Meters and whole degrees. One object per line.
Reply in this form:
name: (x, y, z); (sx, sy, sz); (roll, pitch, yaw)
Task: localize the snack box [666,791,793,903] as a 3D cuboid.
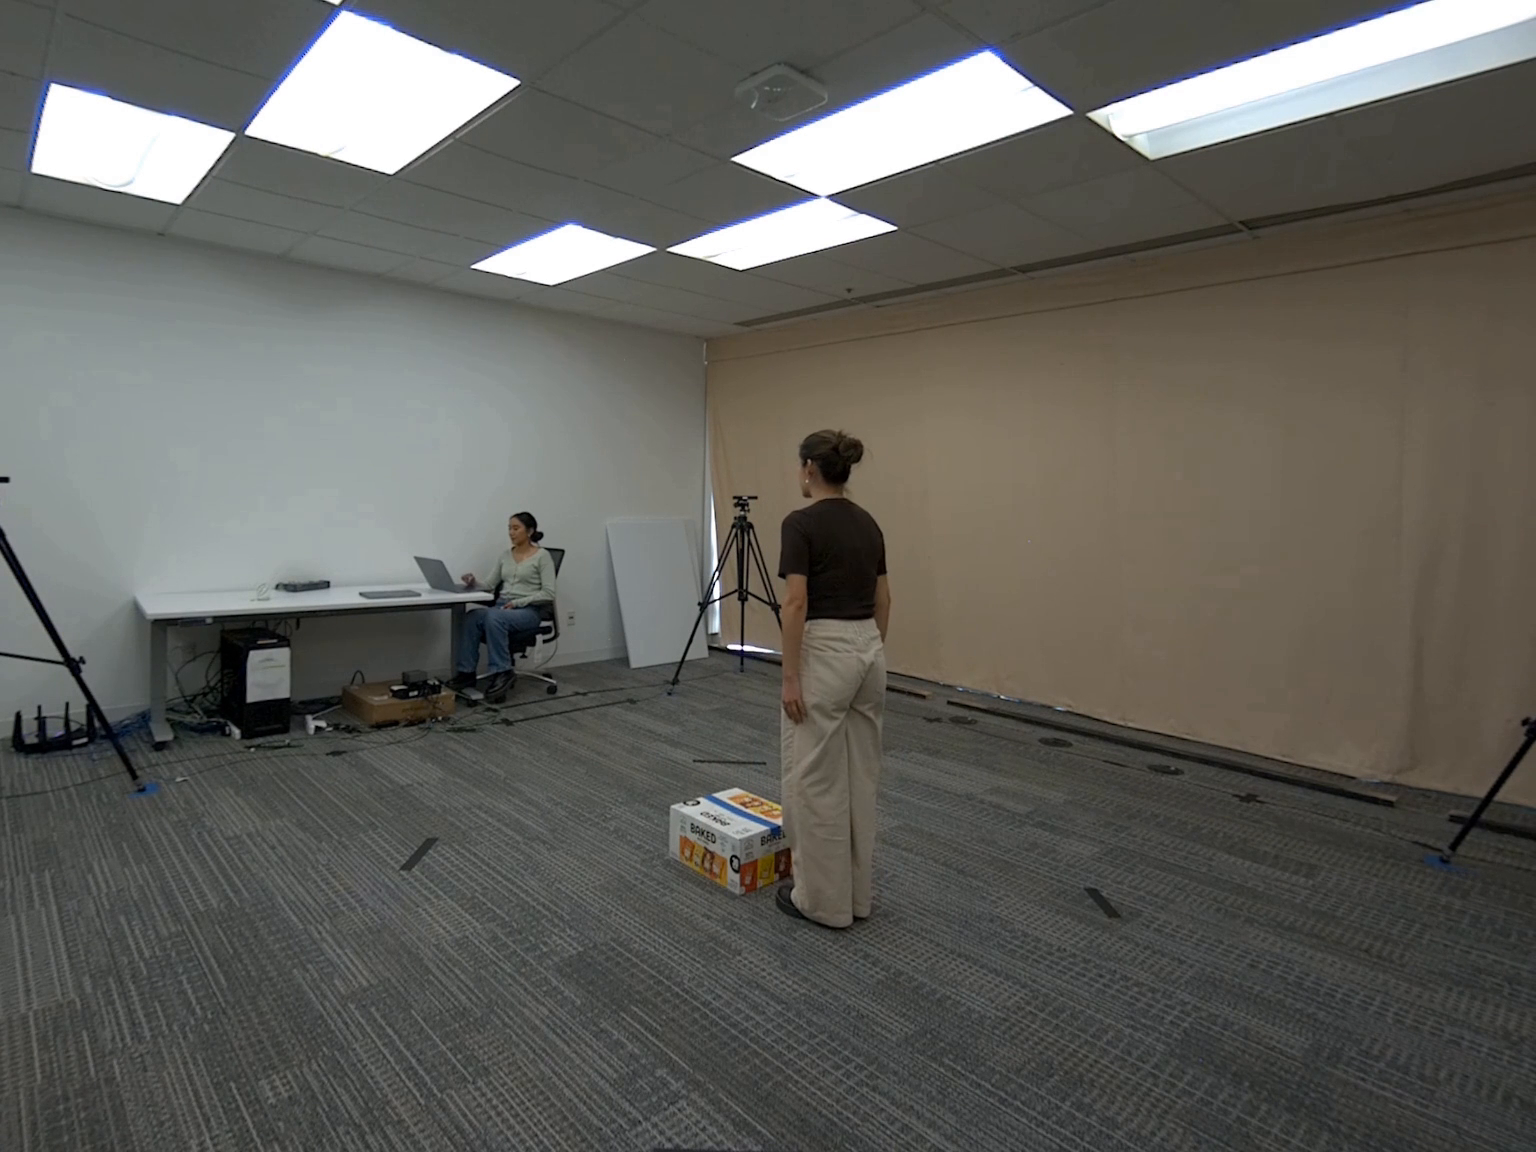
snack box: (-0.122, 1.003, 3.192); (0.332, 0.205, 0.416); (-2, 6, -42)
